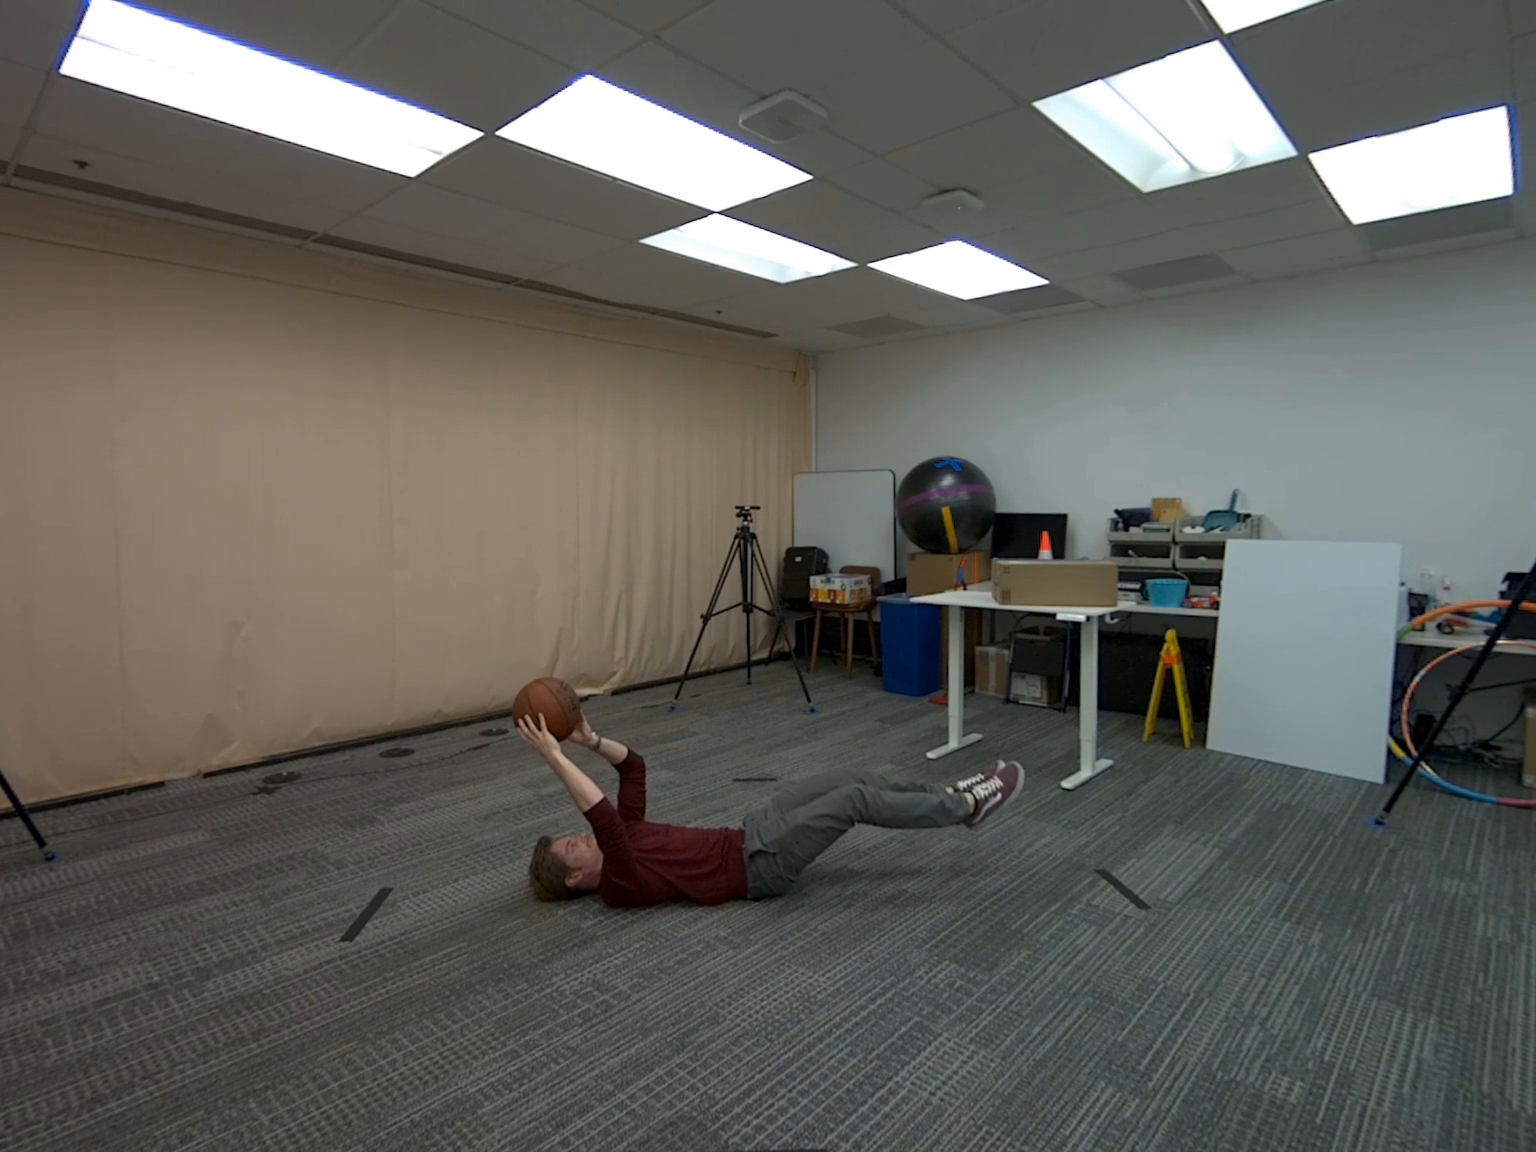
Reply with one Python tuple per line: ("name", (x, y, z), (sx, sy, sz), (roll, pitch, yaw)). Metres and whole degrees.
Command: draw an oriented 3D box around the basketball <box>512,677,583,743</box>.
("basketball", (-0.787, 0.477, 2.987), (0.236, 0.235, 0.237), (0, 4, -2))
